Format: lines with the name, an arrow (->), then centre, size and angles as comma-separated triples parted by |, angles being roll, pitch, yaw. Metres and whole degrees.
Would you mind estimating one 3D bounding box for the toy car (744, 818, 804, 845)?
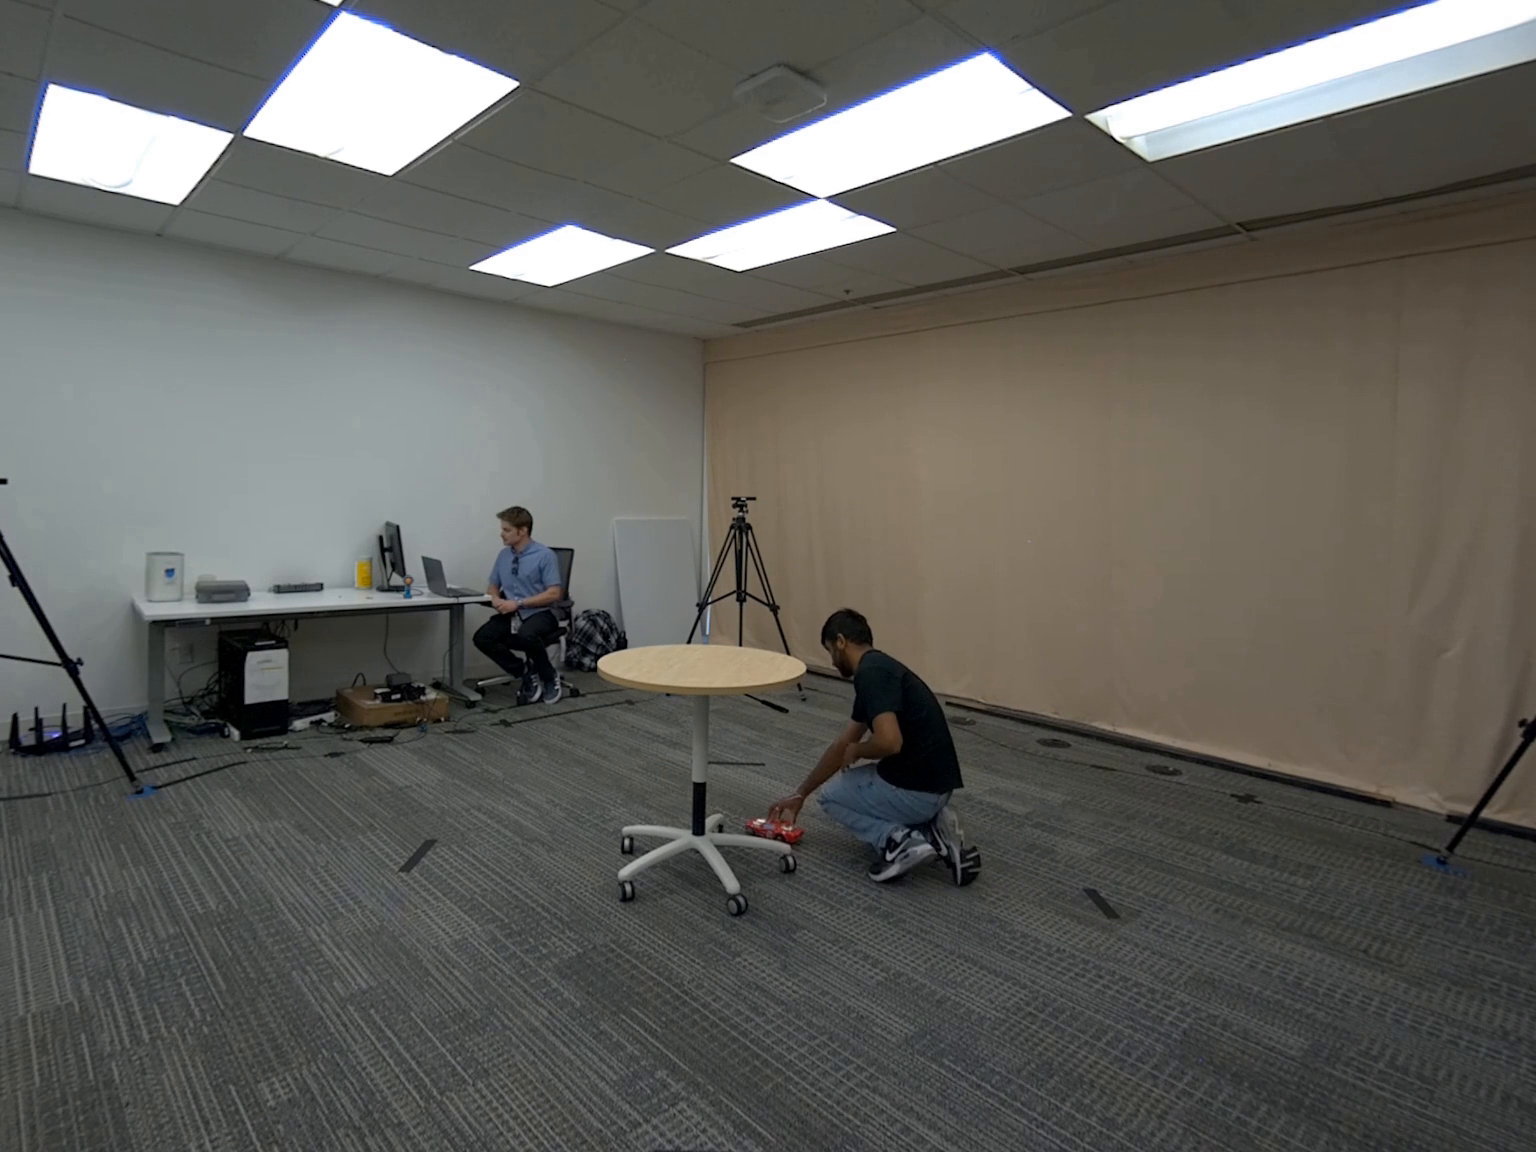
toy car -> 0.024, 1.042, 3.459 | 0.259, 0.083, 0.127 | -9, -4, 35
